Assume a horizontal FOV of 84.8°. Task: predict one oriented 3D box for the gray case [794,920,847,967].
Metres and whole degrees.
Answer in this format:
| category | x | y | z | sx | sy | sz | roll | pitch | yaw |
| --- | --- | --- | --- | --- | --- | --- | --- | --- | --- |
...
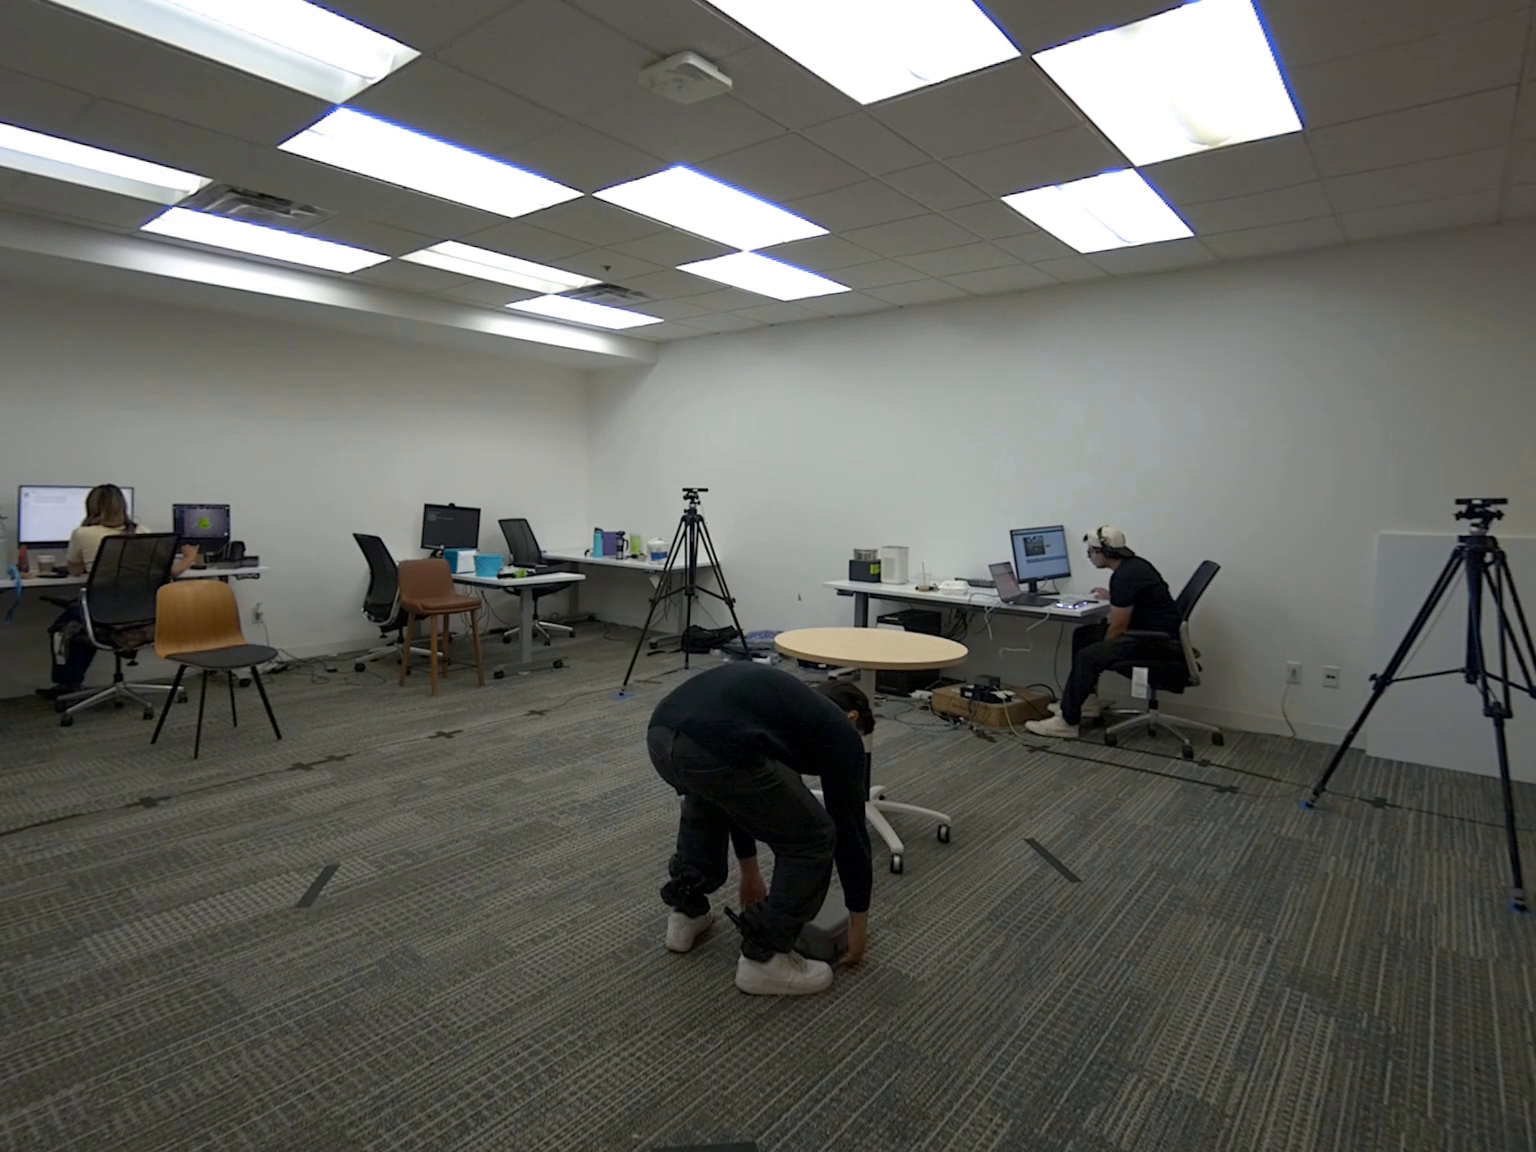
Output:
| category | x | y | z | sx | sy | sz | roll | pitch | yaw |
| --- | --- | --- | --- | --- | --- | --- | --- | --- | --- |
| gray case | 0.143 | 1.065 | 2.652 | 0.266 | 0.104 | 0.253 | 8 | 9 | 37 |
